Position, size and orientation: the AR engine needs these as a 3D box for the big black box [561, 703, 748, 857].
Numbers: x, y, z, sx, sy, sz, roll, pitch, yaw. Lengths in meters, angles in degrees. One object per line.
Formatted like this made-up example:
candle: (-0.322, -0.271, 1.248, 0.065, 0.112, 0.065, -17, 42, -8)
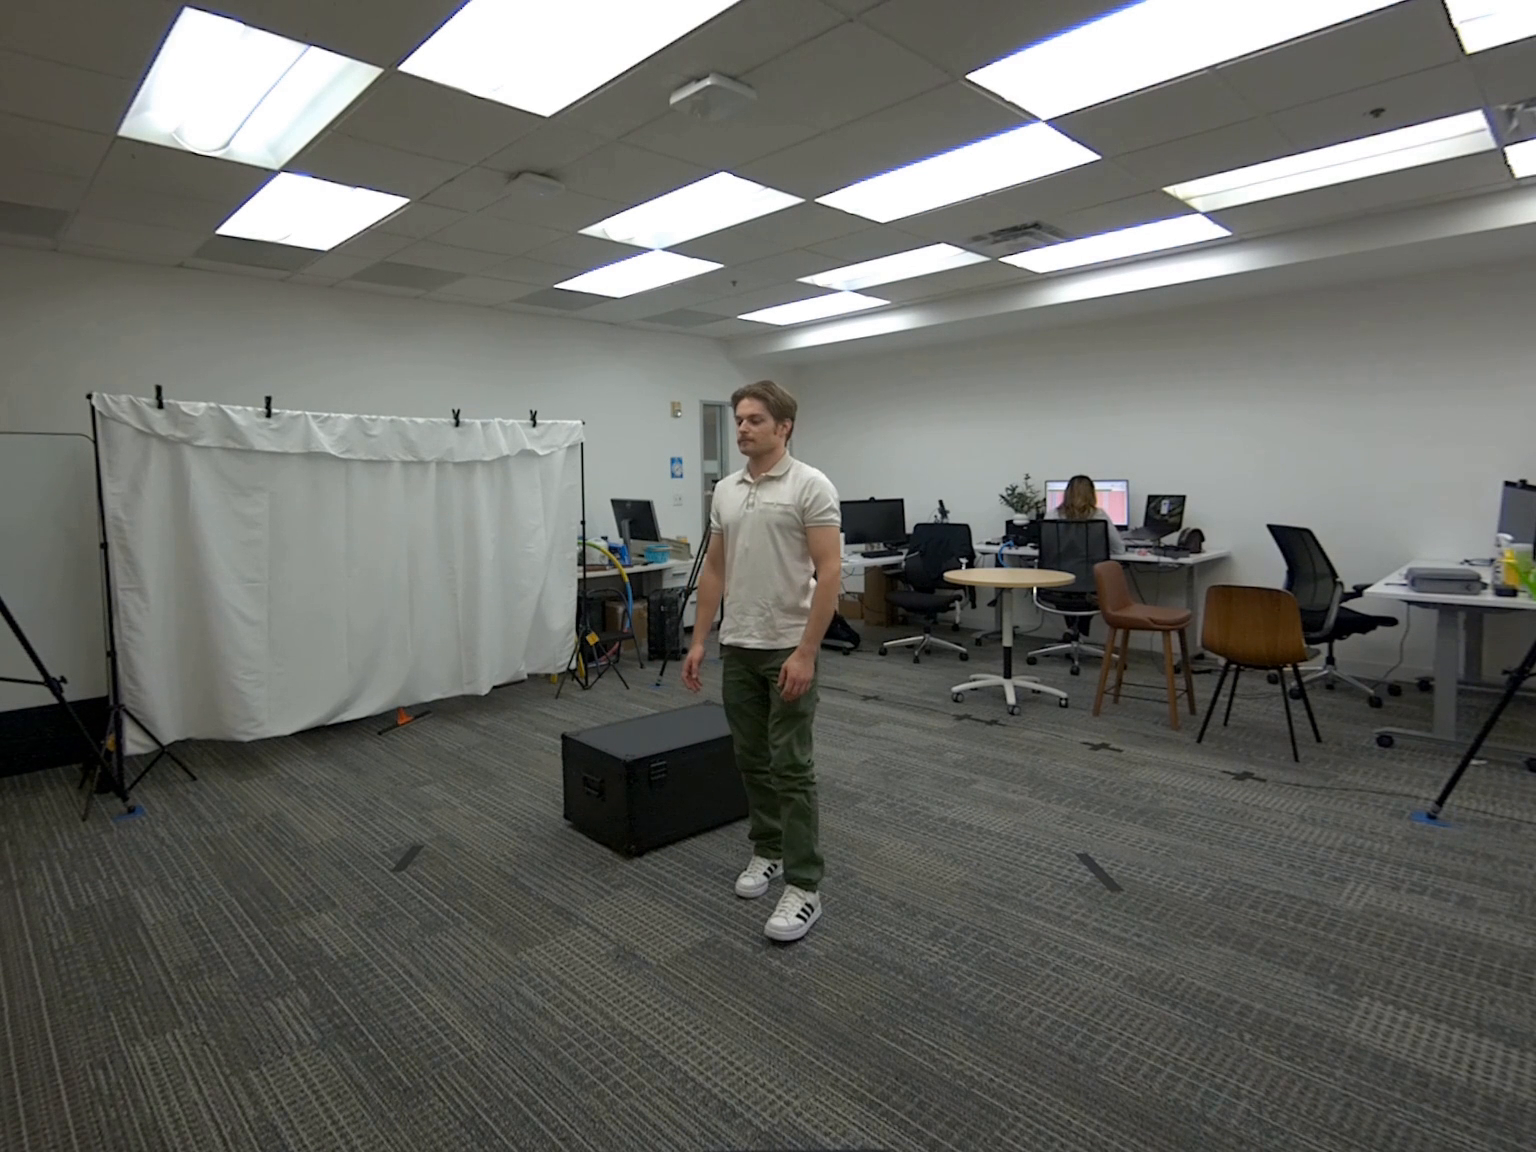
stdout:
big black box: (-0.363, 0.805, 3.577, 0.846, 0.384, 0.539, -6, 6, -41)
